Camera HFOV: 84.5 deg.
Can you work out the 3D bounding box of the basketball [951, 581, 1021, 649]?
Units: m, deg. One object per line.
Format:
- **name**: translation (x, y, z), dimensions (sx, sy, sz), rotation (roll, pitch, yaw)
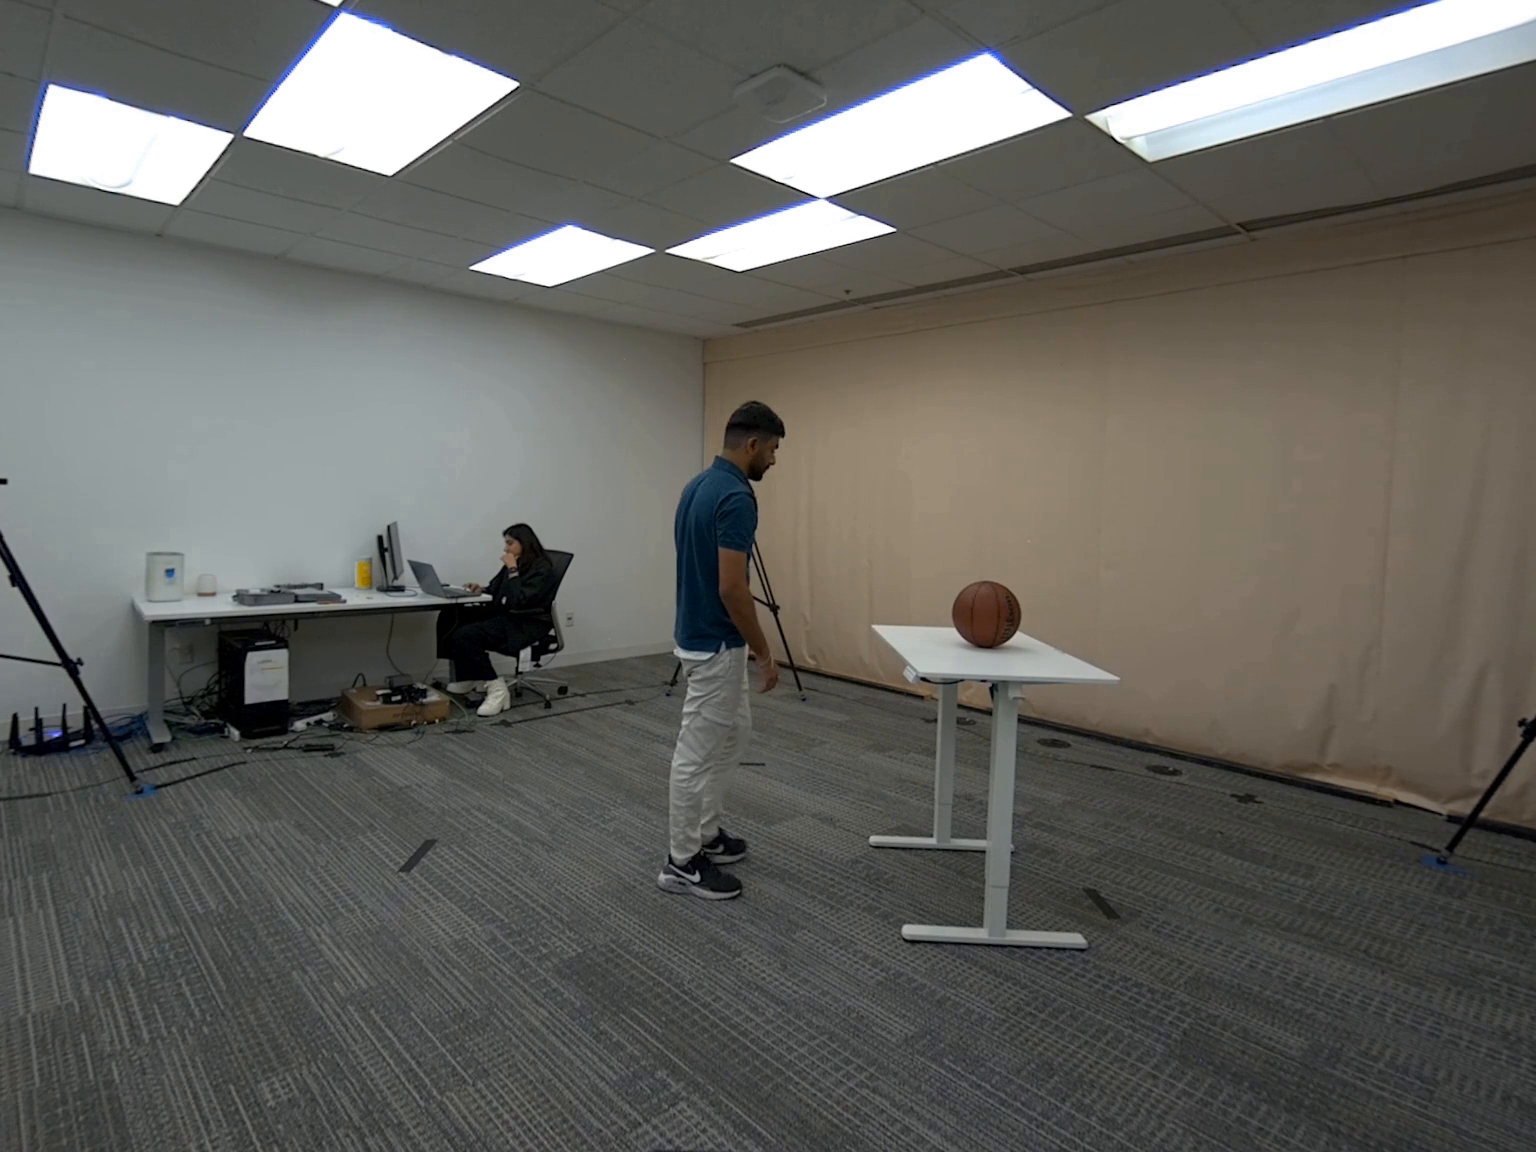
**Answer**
- **basketball**: translation (0.777, 0.134, 3.026), dimensions (0.236, 0.235, 0.237), rotation (1, 4, -1)
